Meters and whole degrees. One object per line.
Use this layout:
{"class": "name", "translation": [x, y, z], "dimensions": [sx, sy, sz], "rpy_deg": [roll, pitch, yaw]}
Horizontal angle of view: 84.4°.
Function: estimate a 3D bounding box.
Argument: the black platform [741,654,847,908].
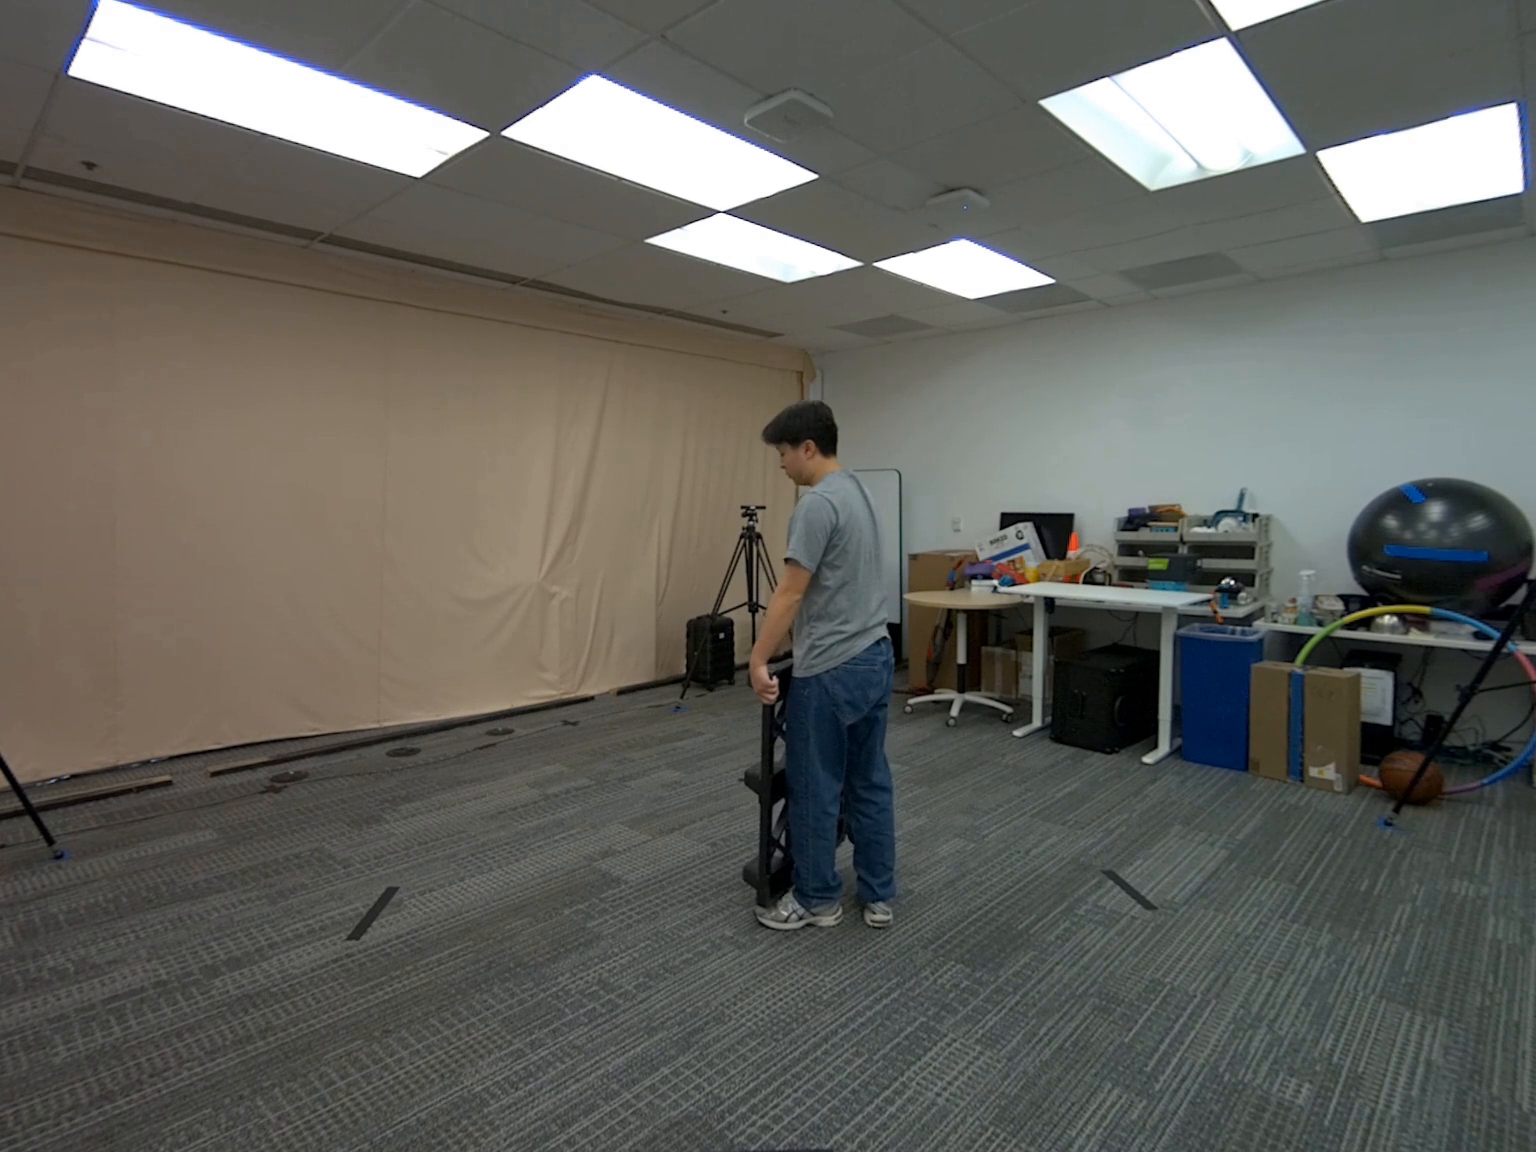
{"class": "black platform", "translation": [0.091, 0.662, 2.953], "dimensions": [0.148, 0.801, 0.590], "rpy_deg": [6, 10, 31]}
